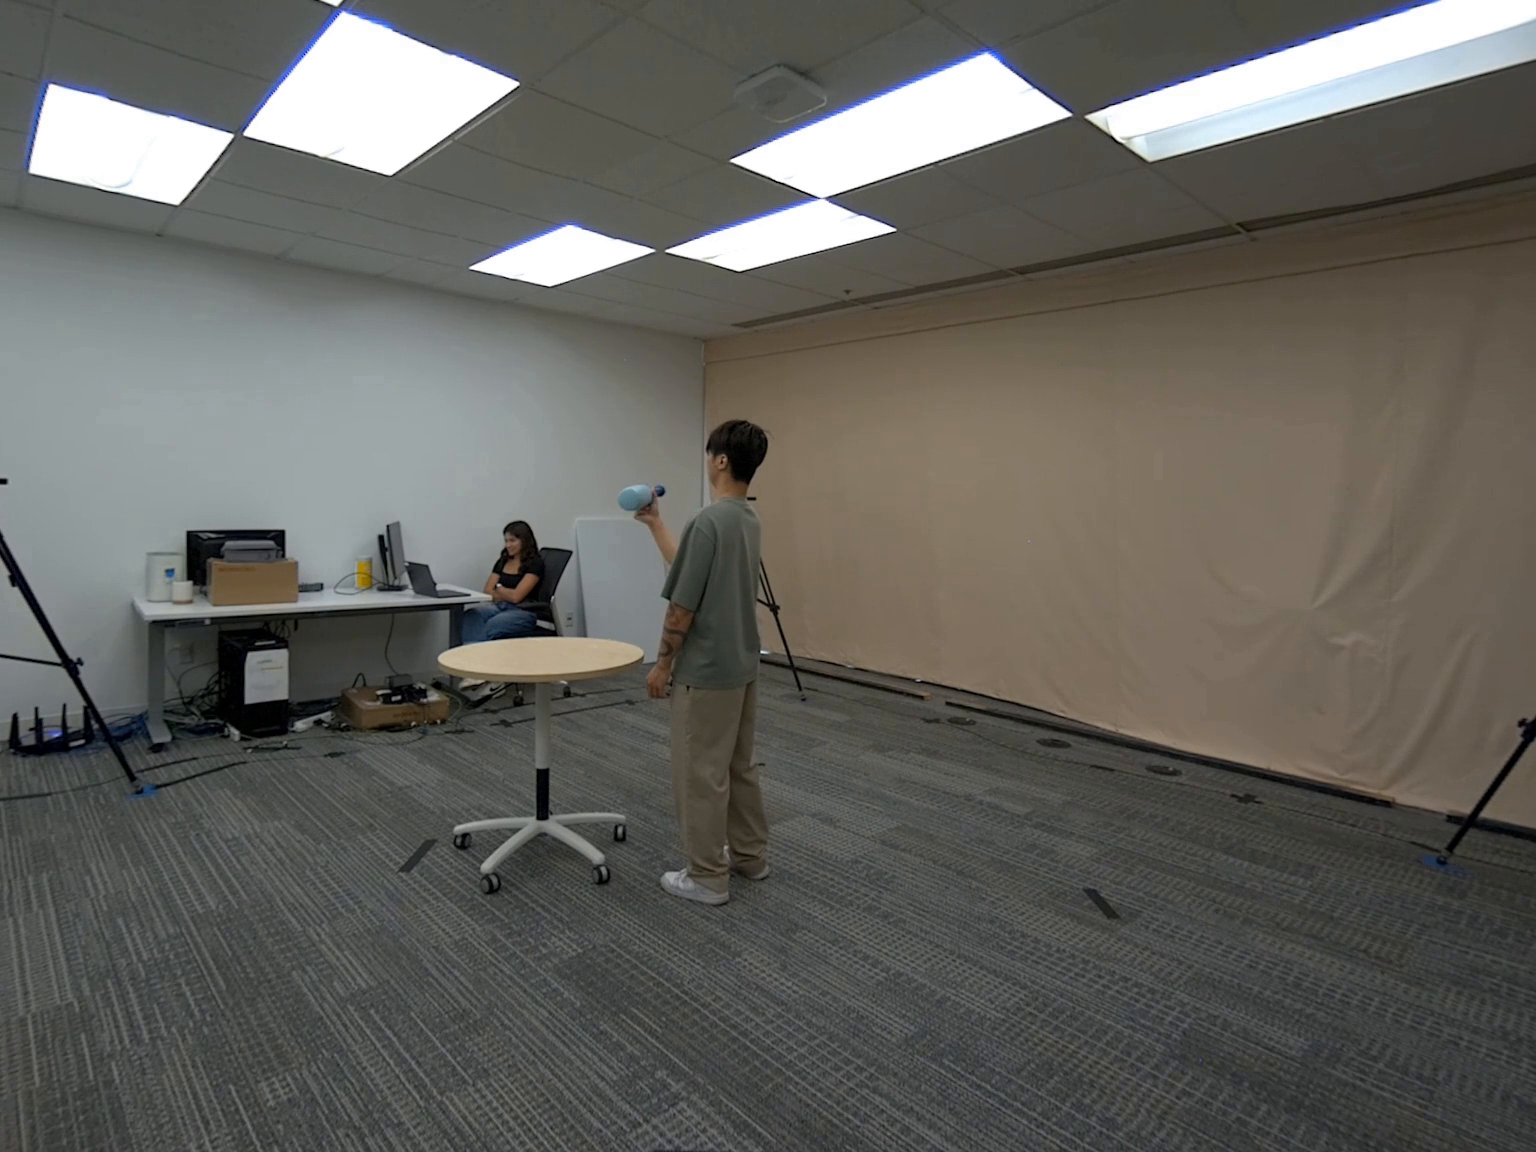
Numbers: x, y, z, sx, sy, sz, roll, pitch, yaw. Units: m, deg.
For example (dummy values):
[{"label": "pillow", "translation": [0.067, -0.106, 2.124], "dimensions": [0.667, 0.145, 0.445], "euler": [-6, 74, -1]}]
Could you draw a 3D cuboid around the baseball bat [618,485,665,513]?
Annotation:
[{"label": "baseball bat", "translation": [-0.474, -0.321, 3.276], "dimensions": [0.090, 0.088, 0.542], "euler": [2, 8, 7]}]
